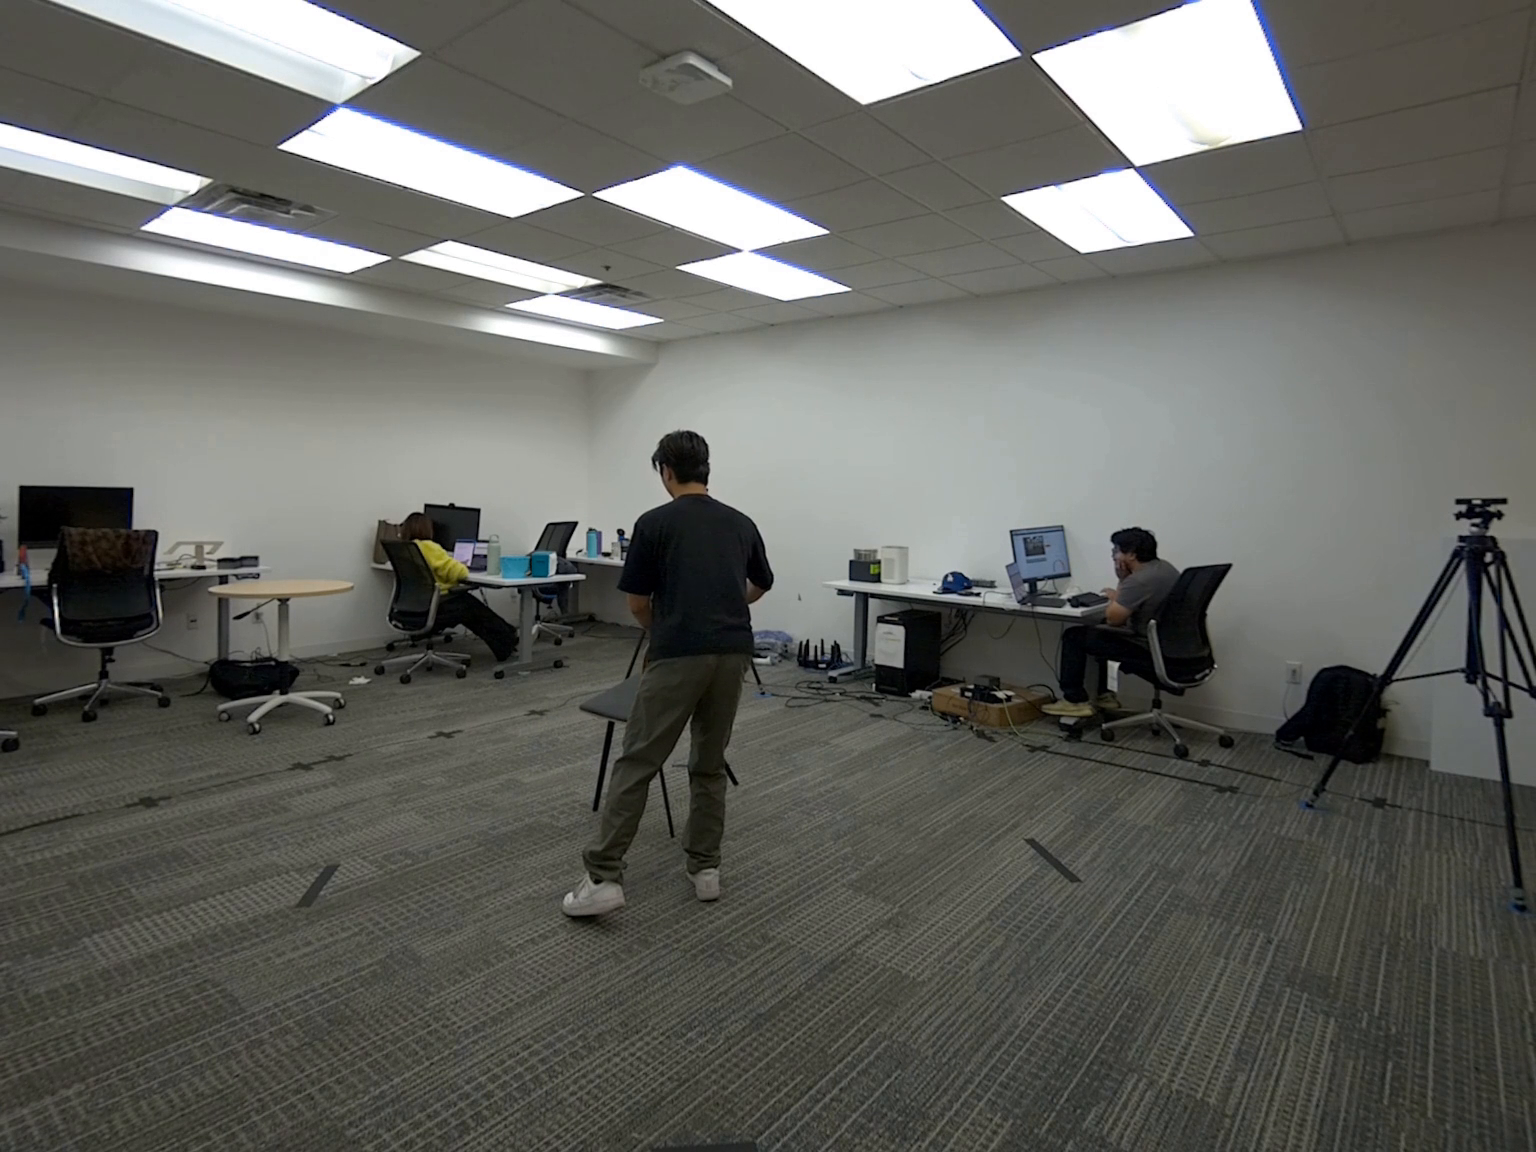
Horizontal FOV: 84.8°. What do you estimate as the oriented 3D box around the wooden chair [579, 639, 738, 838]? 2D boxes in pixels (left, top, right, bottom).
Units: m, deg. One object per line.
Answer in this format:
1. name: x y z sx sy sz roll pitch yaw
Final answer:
1. wooden chair: -0.506 0.553 3.595 0.541 0.864 0.469 9 20 35
